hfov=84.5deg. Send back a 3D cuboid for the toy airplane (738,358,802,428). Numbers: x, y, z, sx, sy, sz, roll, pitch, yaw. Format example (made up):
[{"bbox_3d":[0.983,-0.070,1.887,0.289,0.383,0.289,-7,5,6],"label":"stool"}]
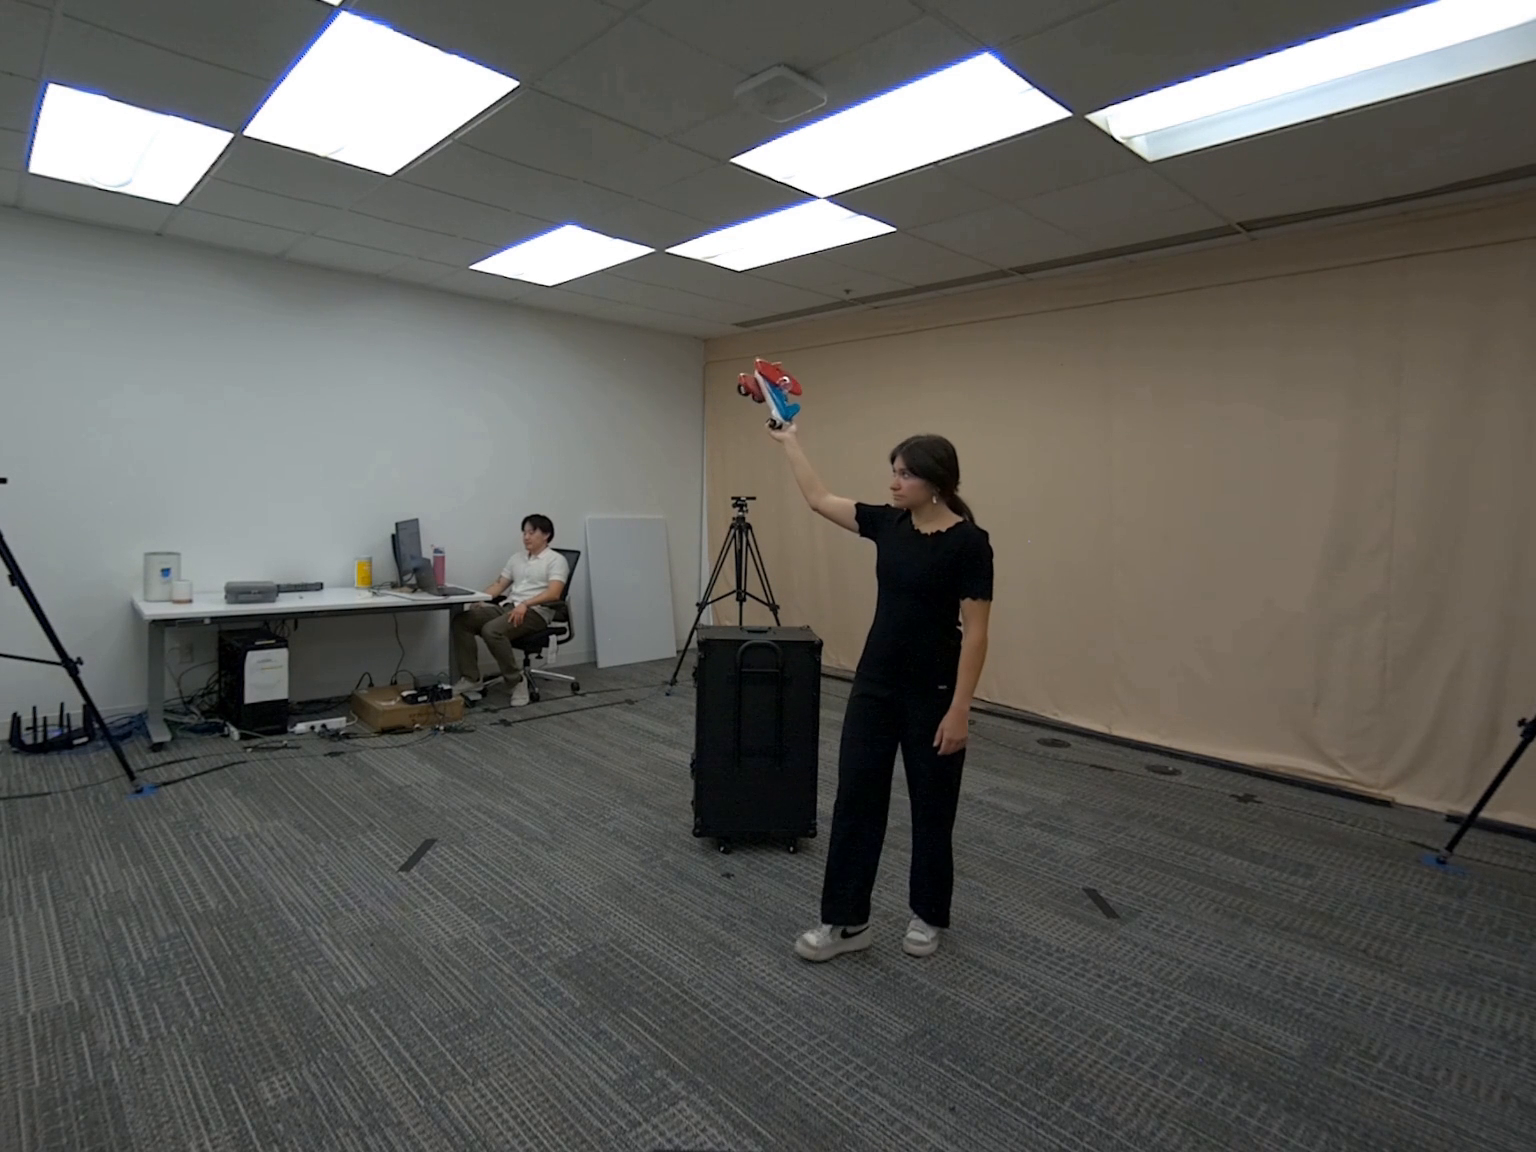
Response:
[{"bbox_3d":[0.013,-0.635,2.973,0.261,0.156,0.249,44,22,6],"label":"toy airplane"}]
